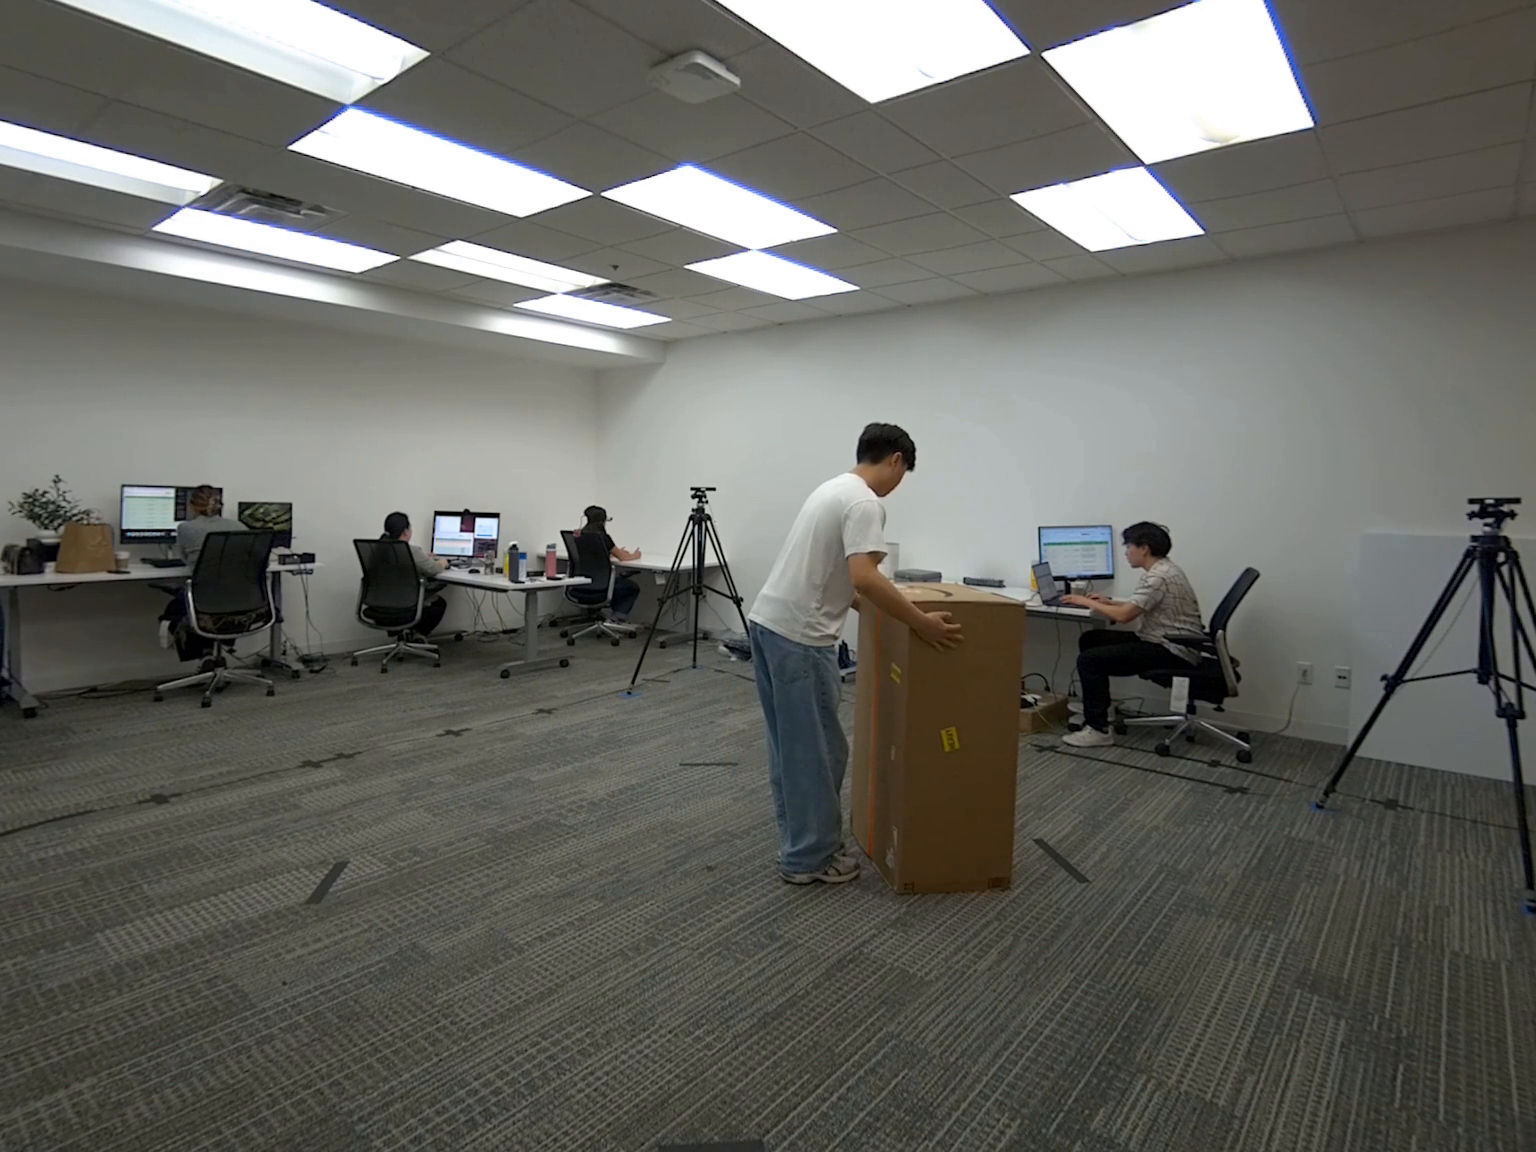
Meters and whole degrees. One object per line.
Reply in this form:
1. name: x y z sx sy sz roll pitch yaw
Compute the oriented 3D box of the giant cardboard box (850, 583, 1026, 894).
1. giant cardboard box: 0.610 0.566 3.227 0.422 1.022 0.585 1 4 -10
